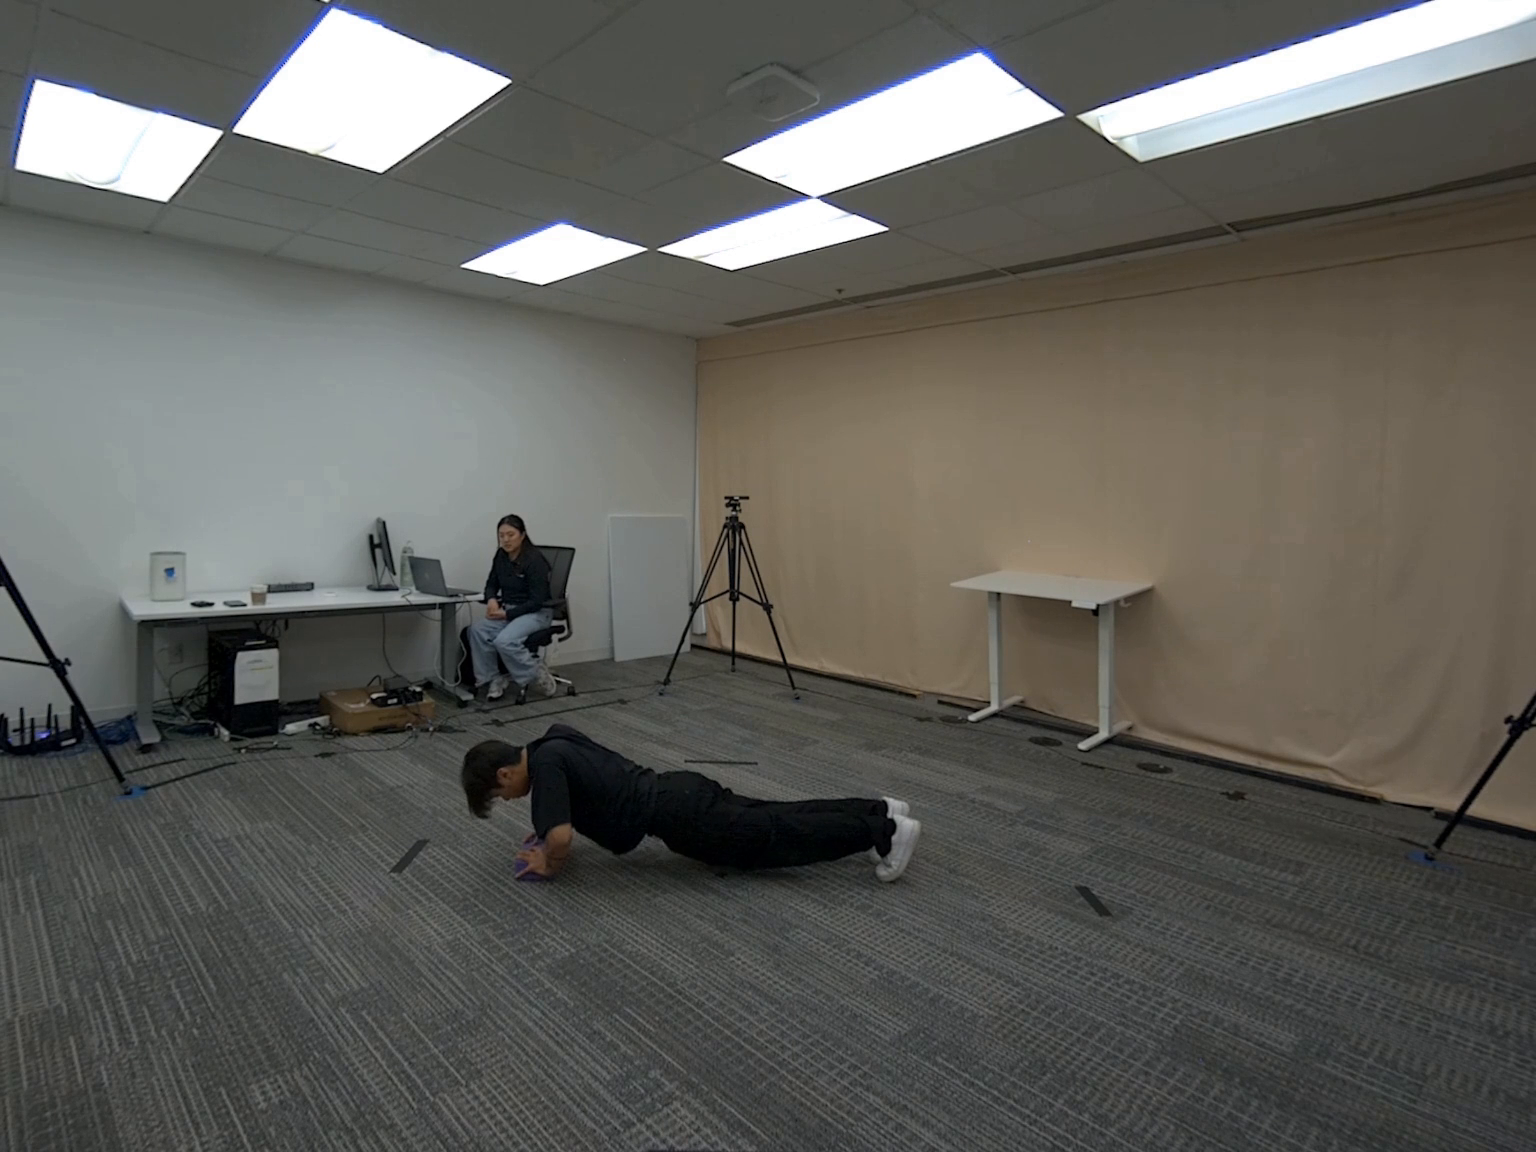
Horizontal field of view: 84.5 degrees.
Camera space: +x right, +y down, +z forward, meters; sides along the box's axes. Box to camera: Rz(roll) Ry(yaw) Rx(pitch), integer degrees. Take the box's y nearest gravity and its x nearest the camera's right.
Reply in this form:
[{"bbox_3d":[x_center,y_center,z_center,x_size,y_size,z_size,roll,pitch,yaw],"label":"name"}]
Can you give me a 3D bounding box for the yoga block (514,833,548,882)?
[{"bbox_3d":[-0.849,1.039,3.141,0.149,0.076,0.231,-4,6,-3],"label":"yoga block"}]
